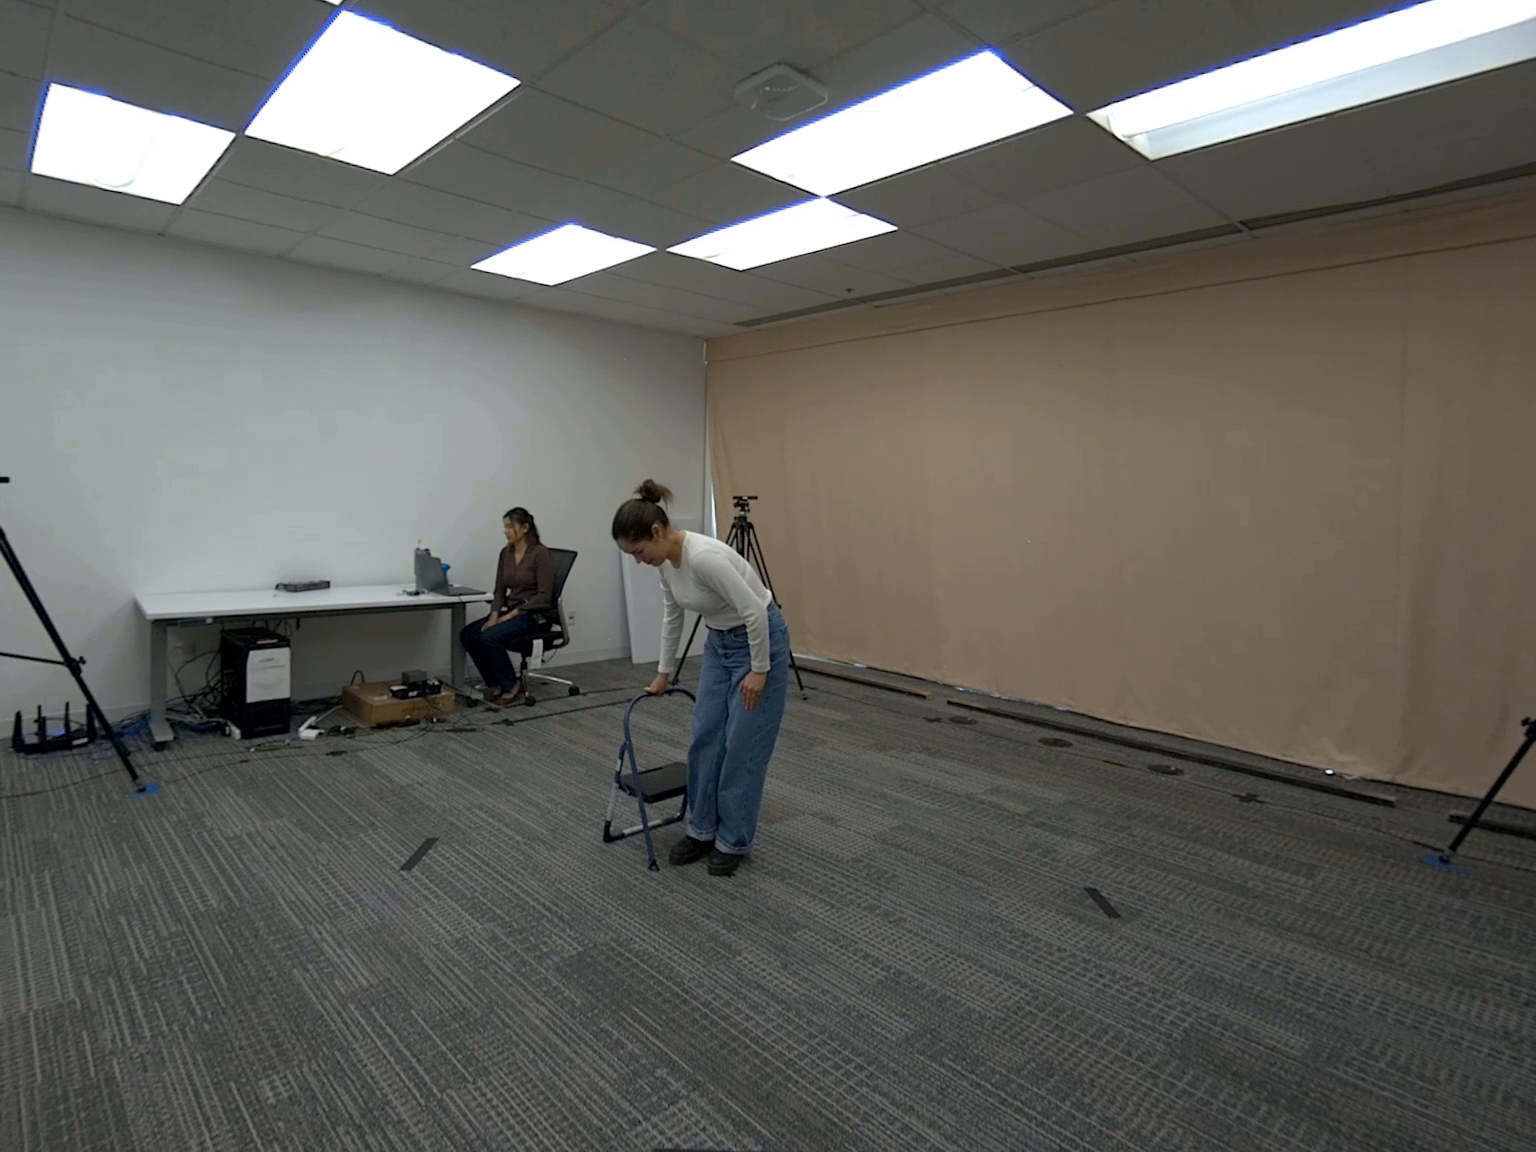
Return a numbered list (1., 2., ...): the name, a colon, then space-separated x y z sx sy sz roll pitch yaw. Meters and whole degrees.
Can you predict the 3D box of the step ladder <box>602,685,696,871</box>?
1. step ladder: -0.398 0.770 3.374 0.421 0.604 0.358 -2 6 -44
